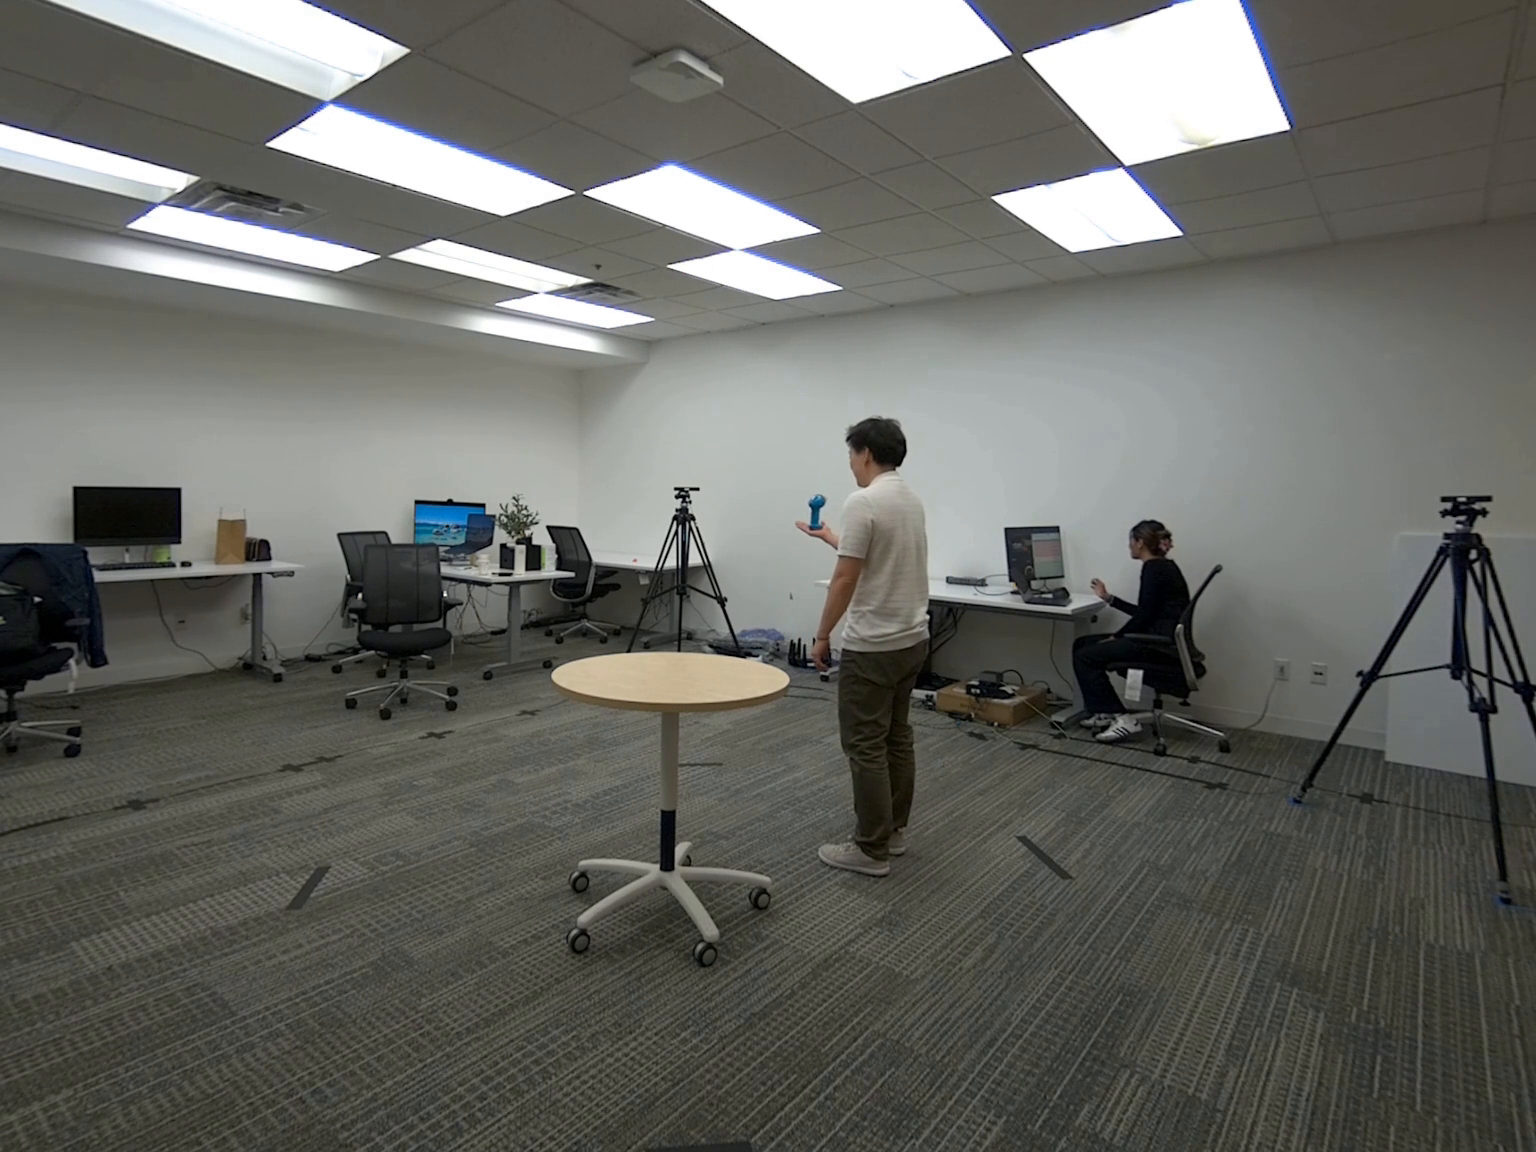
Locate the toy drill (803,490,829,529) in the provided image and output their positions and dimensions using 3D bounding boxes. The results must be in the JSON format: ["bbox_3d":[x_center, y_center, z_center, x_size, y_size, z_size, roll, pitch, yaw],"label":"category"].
[{"bbox_3d":[0.206,-0.282,3.615,0.062,0.144,0.168,-1,13,18],"label":"toy drill"}]
